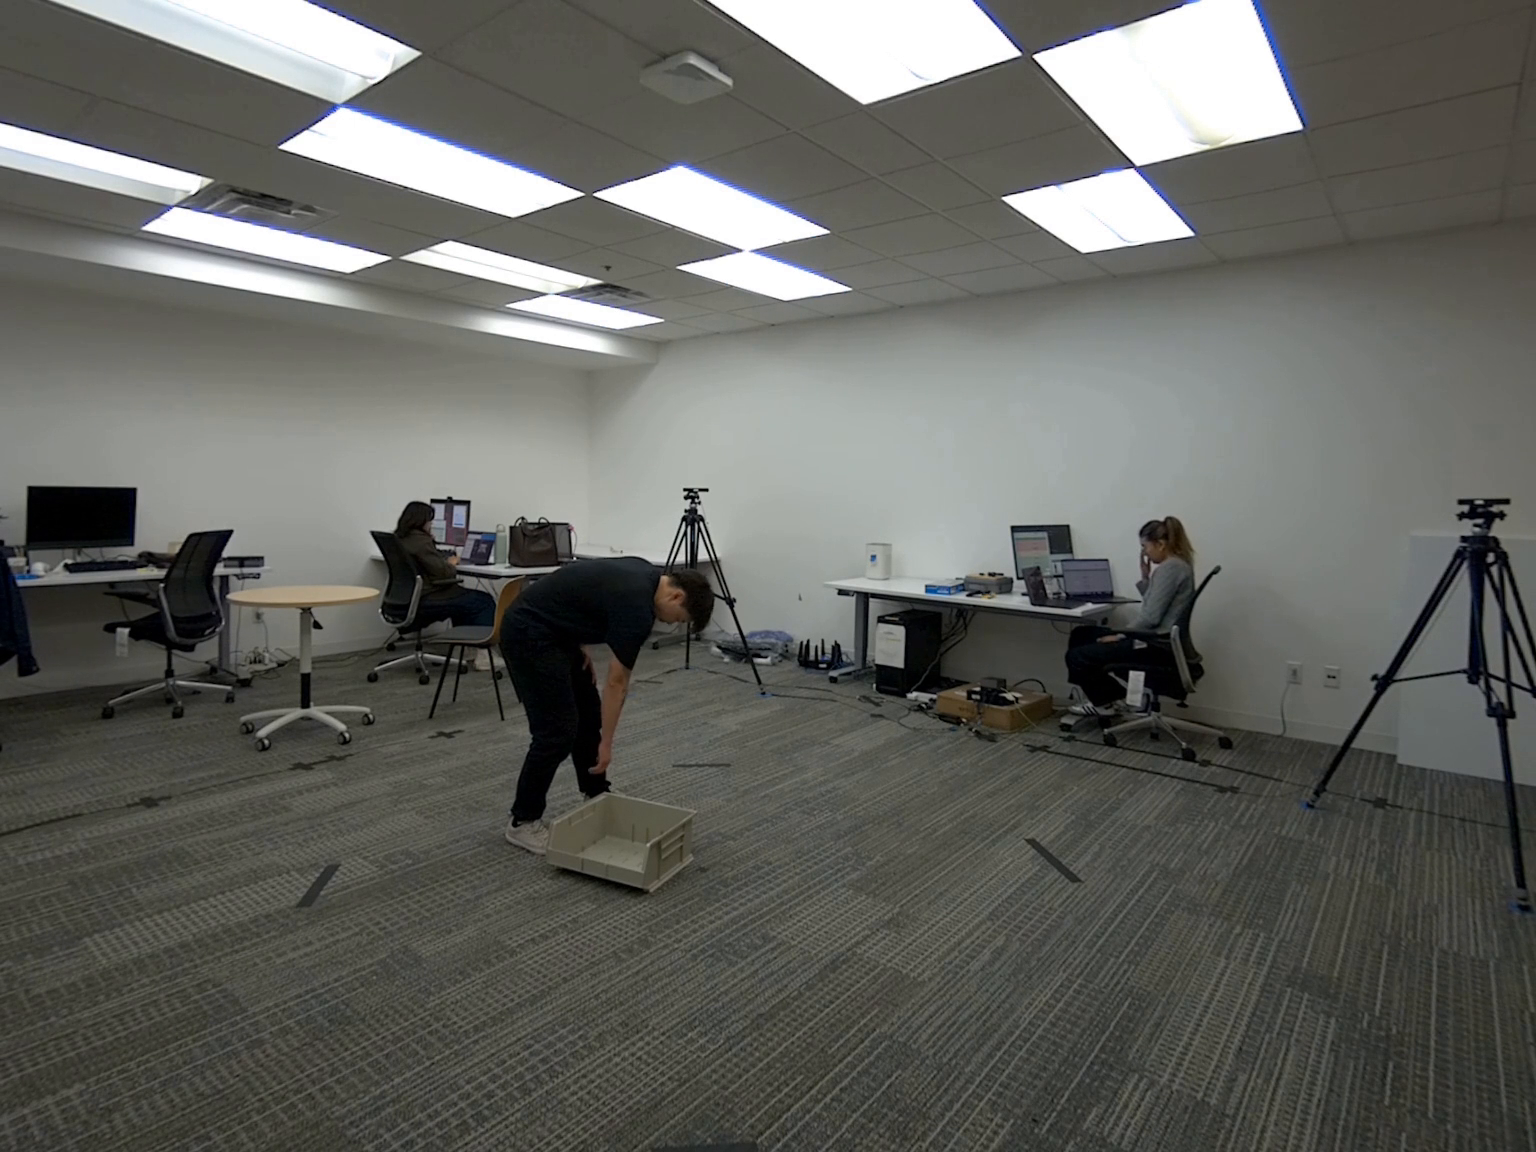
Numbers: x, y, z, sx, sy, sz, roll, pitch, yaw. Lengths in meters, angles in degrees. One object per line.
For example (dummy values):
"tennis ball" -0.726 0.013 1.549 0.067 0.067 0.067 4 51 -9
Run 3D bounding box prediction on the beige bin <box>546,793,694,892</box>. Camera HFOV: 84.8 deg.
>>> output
"beige bin" -0.542 0.976 3.121 0.433 0.188 0.369 2 4 25
